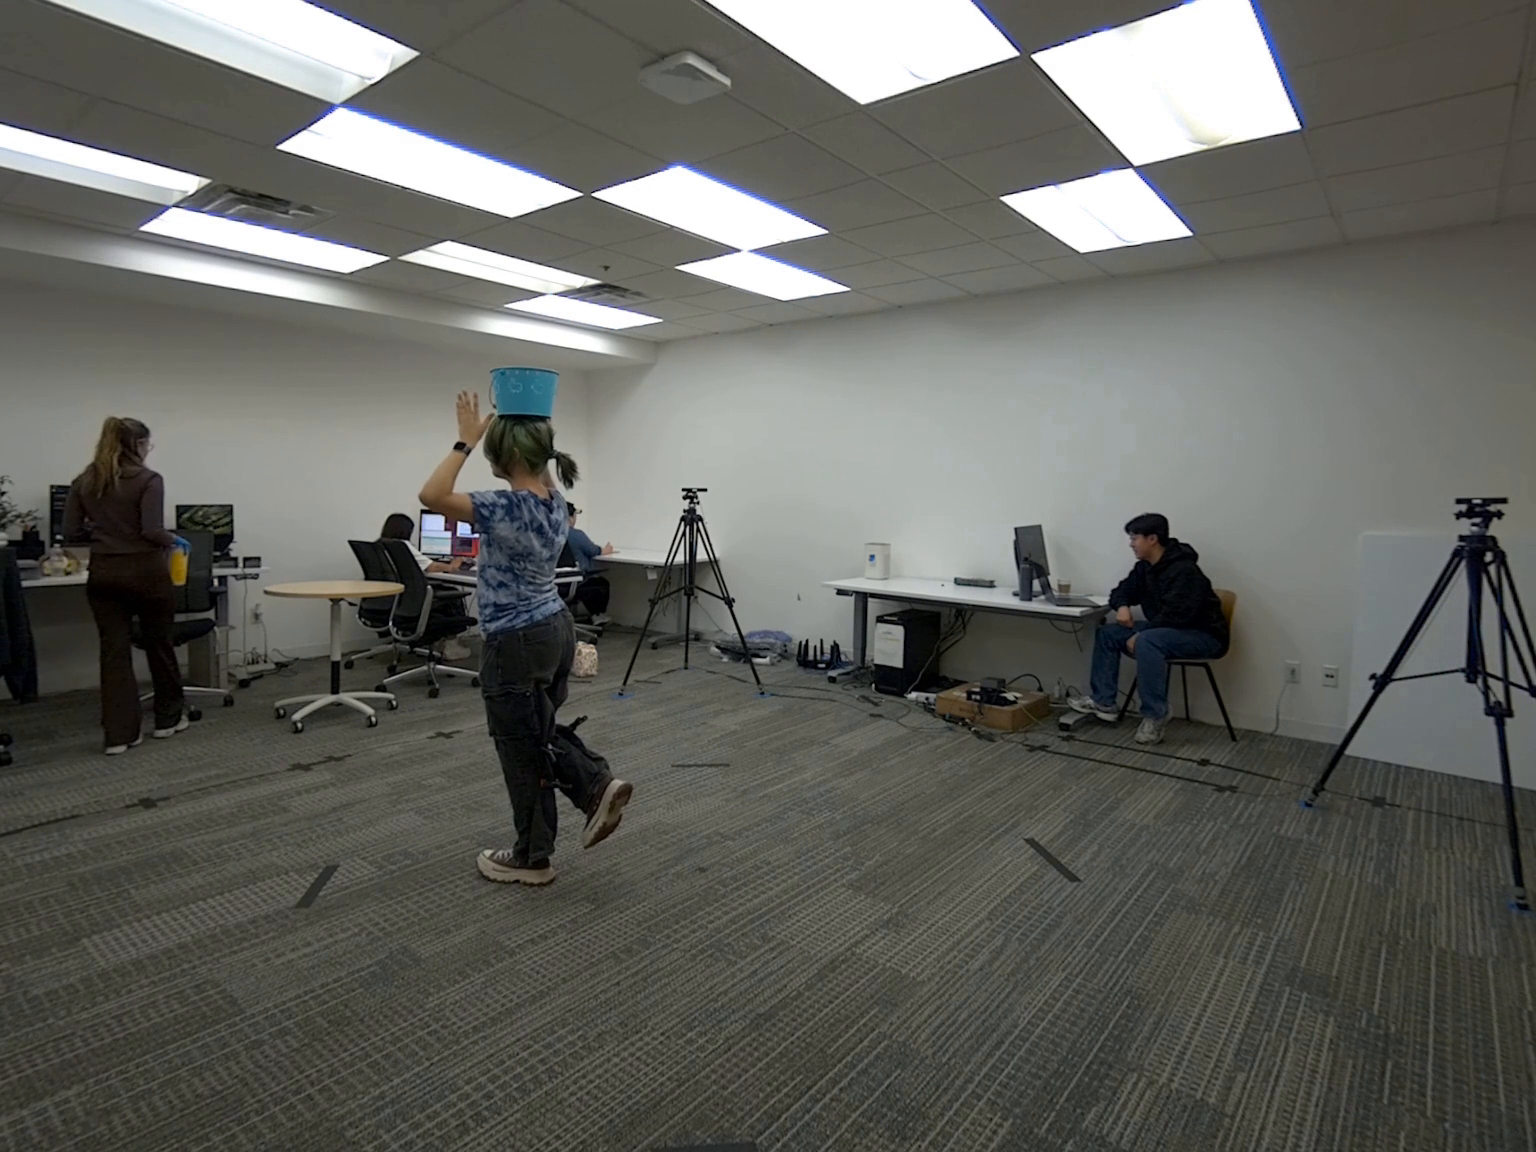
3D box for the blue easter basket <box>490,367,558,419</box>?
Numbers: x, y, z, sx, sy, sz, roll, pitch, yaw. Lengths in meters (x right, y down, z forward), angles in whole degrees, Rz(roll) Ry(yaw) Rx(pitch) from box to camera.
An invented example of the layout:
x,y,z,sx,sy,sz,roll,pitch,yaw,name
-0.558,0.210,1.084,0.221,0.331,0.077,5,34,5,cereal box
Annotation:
x,y,z,sx,sy,sz,roll,pitch,yaw,name
-0.844,-0.622,2.911,0.243,0.155,0.245,1,4,-2,blue easter basket
